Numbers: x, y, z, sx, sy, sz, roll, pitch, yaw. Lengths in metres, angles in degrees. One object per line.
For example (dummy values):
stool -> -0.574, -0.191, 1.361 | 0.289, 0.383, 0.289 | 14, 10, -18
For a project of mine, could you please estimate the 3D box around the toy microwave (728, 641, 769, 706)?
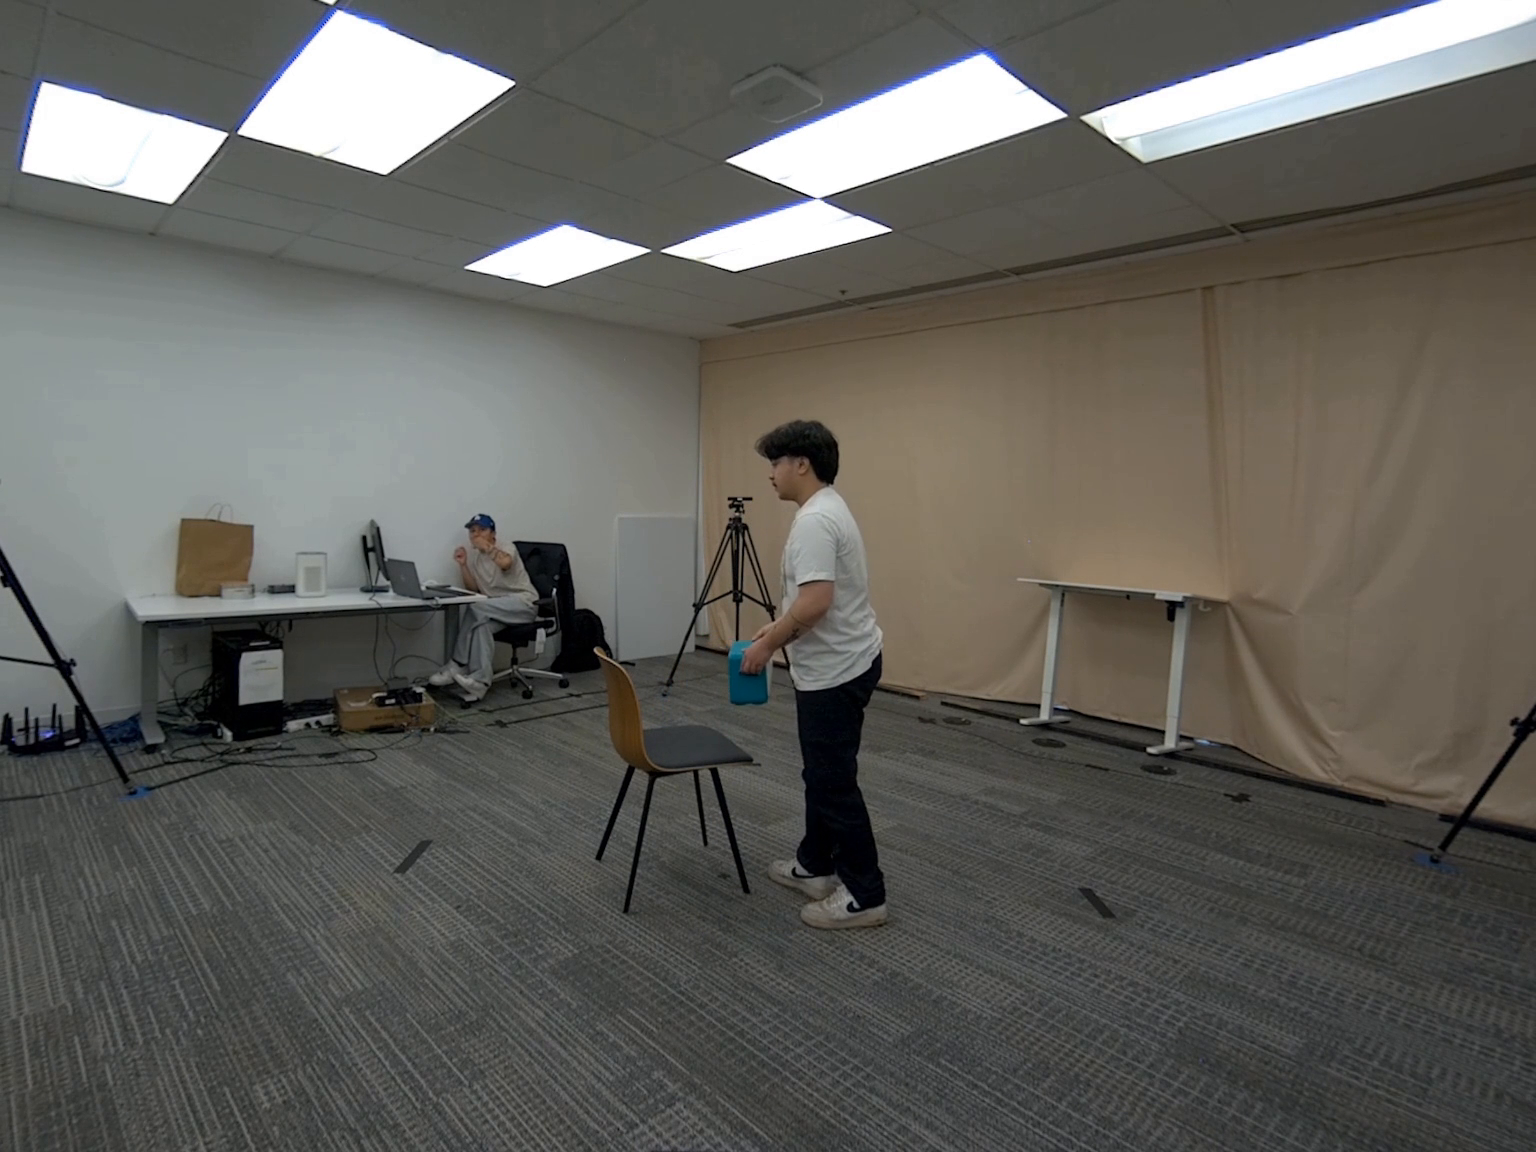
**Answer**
toy microwave -> -0.059, 0.344, 2.976 | 0.153, 0.183, 0.286 | -2, 5, 2
